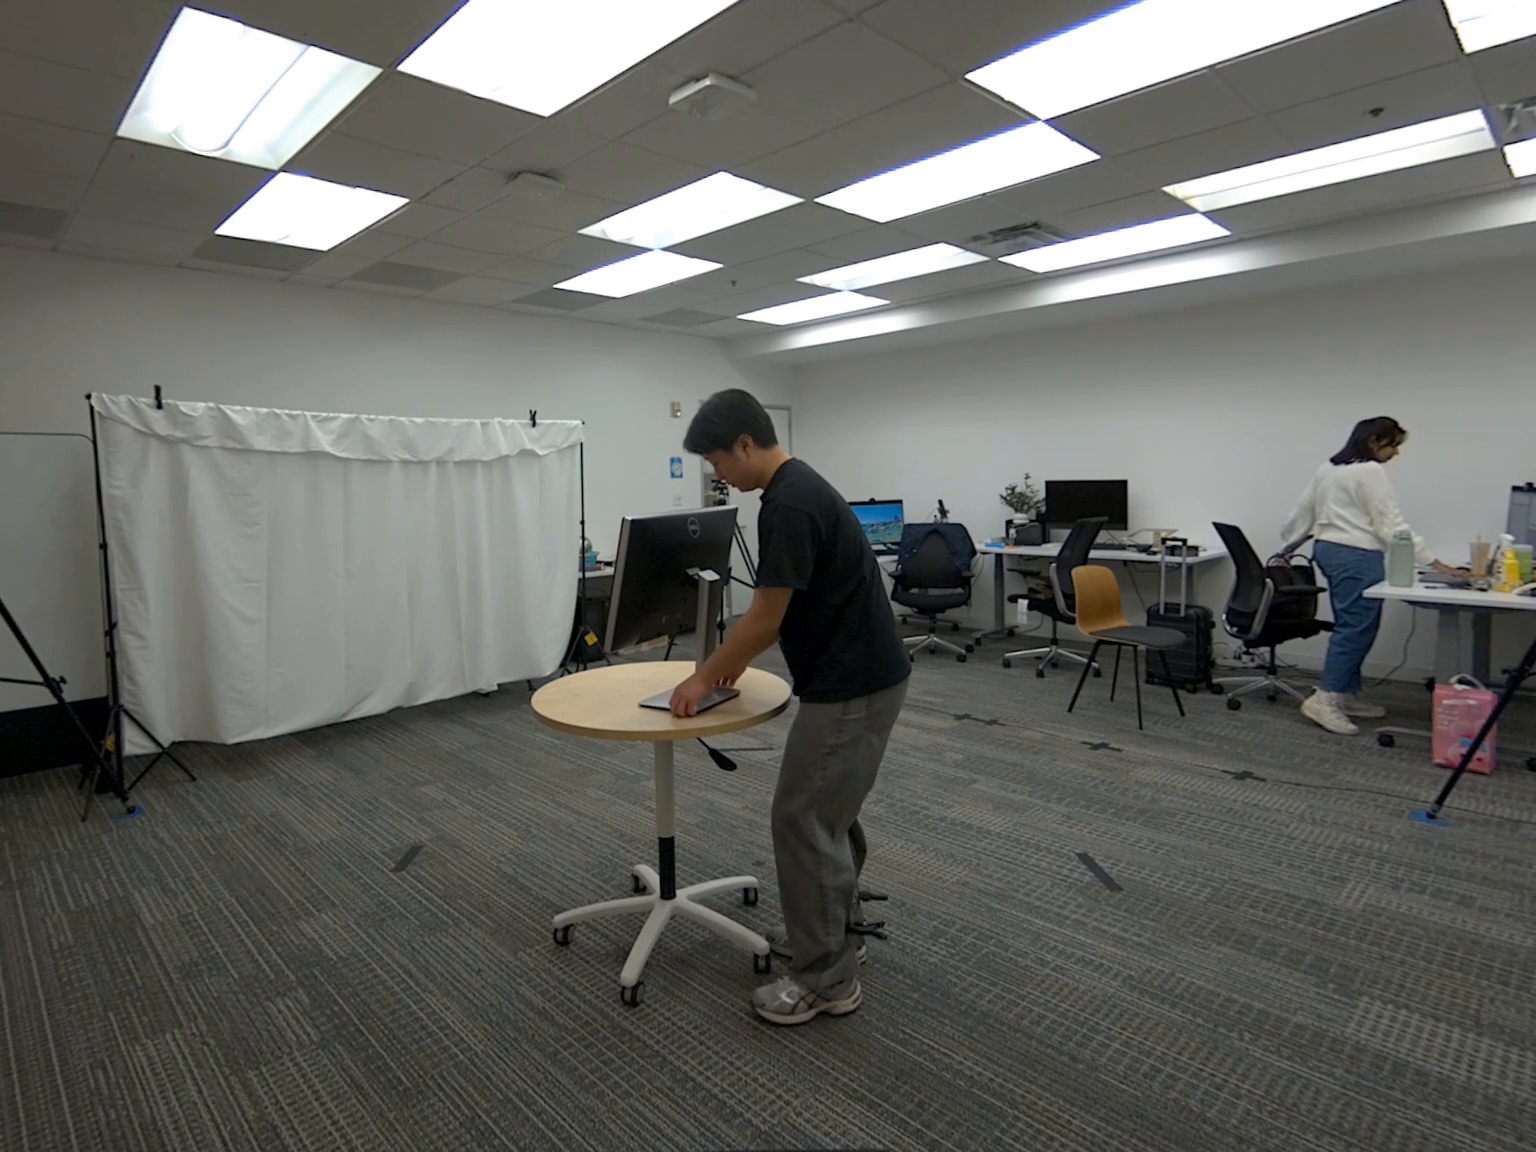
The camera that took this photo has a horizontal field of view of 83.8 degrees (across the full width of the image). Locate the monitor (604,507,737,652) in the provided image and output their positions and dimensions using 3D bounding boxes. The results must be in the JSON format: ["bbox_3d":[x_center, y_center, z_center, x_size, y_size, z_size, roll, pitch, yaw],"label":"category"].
[{"bbox_3d":[-0.225,0.094,2.409,0.228,0.564,0.549,-1,5,32],"label":"monitor"}]
